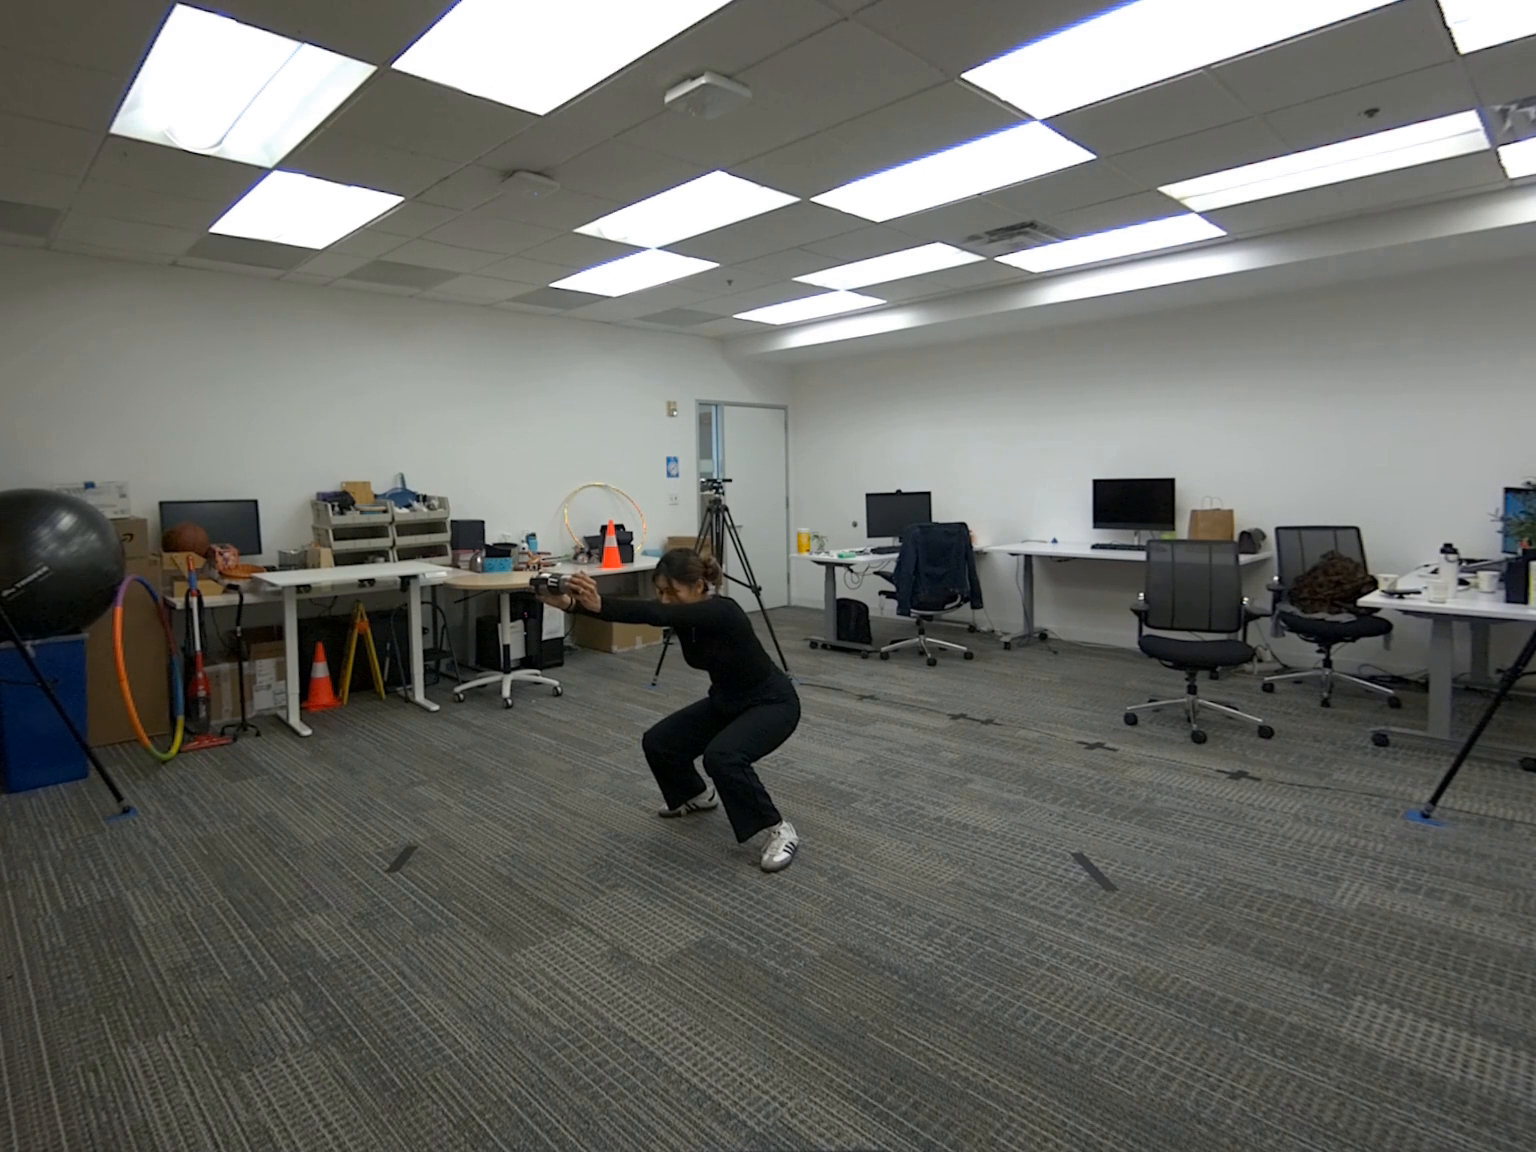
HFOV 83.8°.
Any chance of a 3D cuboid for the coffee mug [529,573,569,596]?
[{"bbox_3d":[-0.698,0.035,2.838,0.119,0.087,0.208,-15,9,-41],"label":"coffee mug"}]
